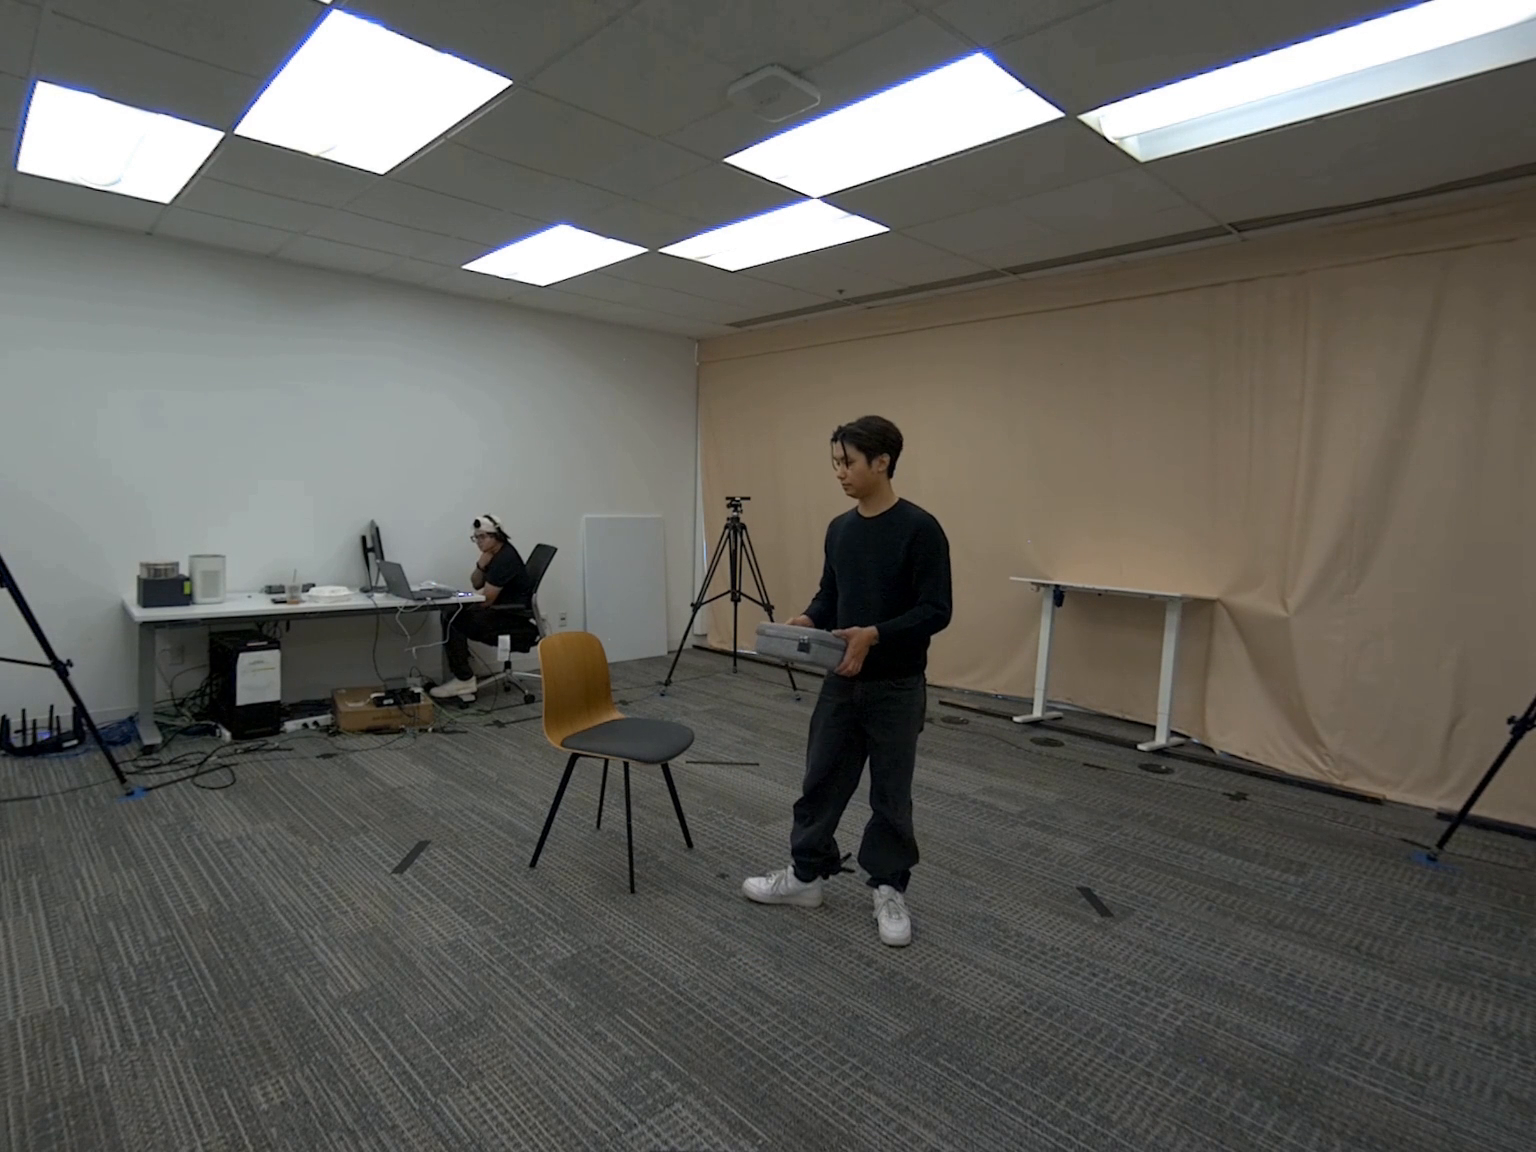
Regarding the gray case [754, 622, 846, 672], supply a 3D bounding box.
[{"bbox_3d":[0.121,0.221,2.568,0.263,0.105,0.253,4,-10,43],"label":"gray case"}]
